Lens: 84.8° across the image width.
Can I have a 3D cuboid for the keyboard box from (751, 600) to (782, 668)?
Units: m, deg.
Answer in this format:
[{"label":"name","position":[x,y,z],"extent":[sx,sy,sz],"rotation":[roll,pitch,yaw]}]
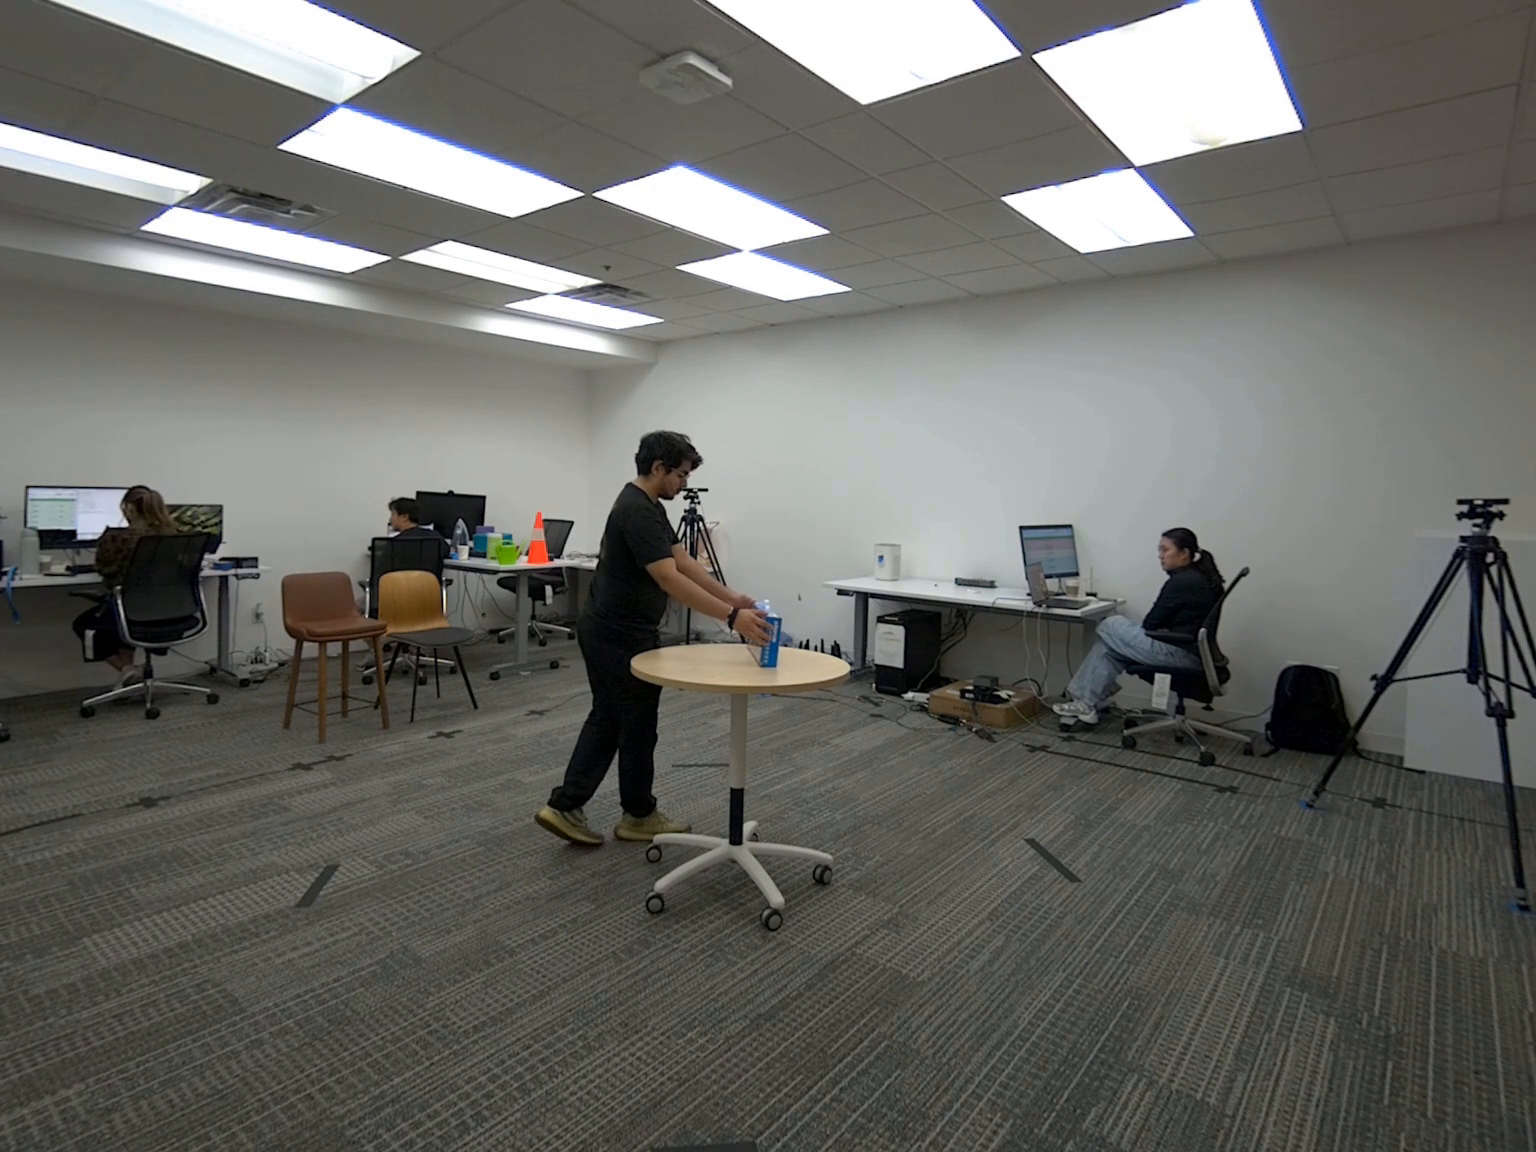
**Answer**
[{"label":"keyboard box","position":[-0.029,0.202,3.110],"extent":[0.059,0.175,0.441],"rotation":[6,4,-7]}]
